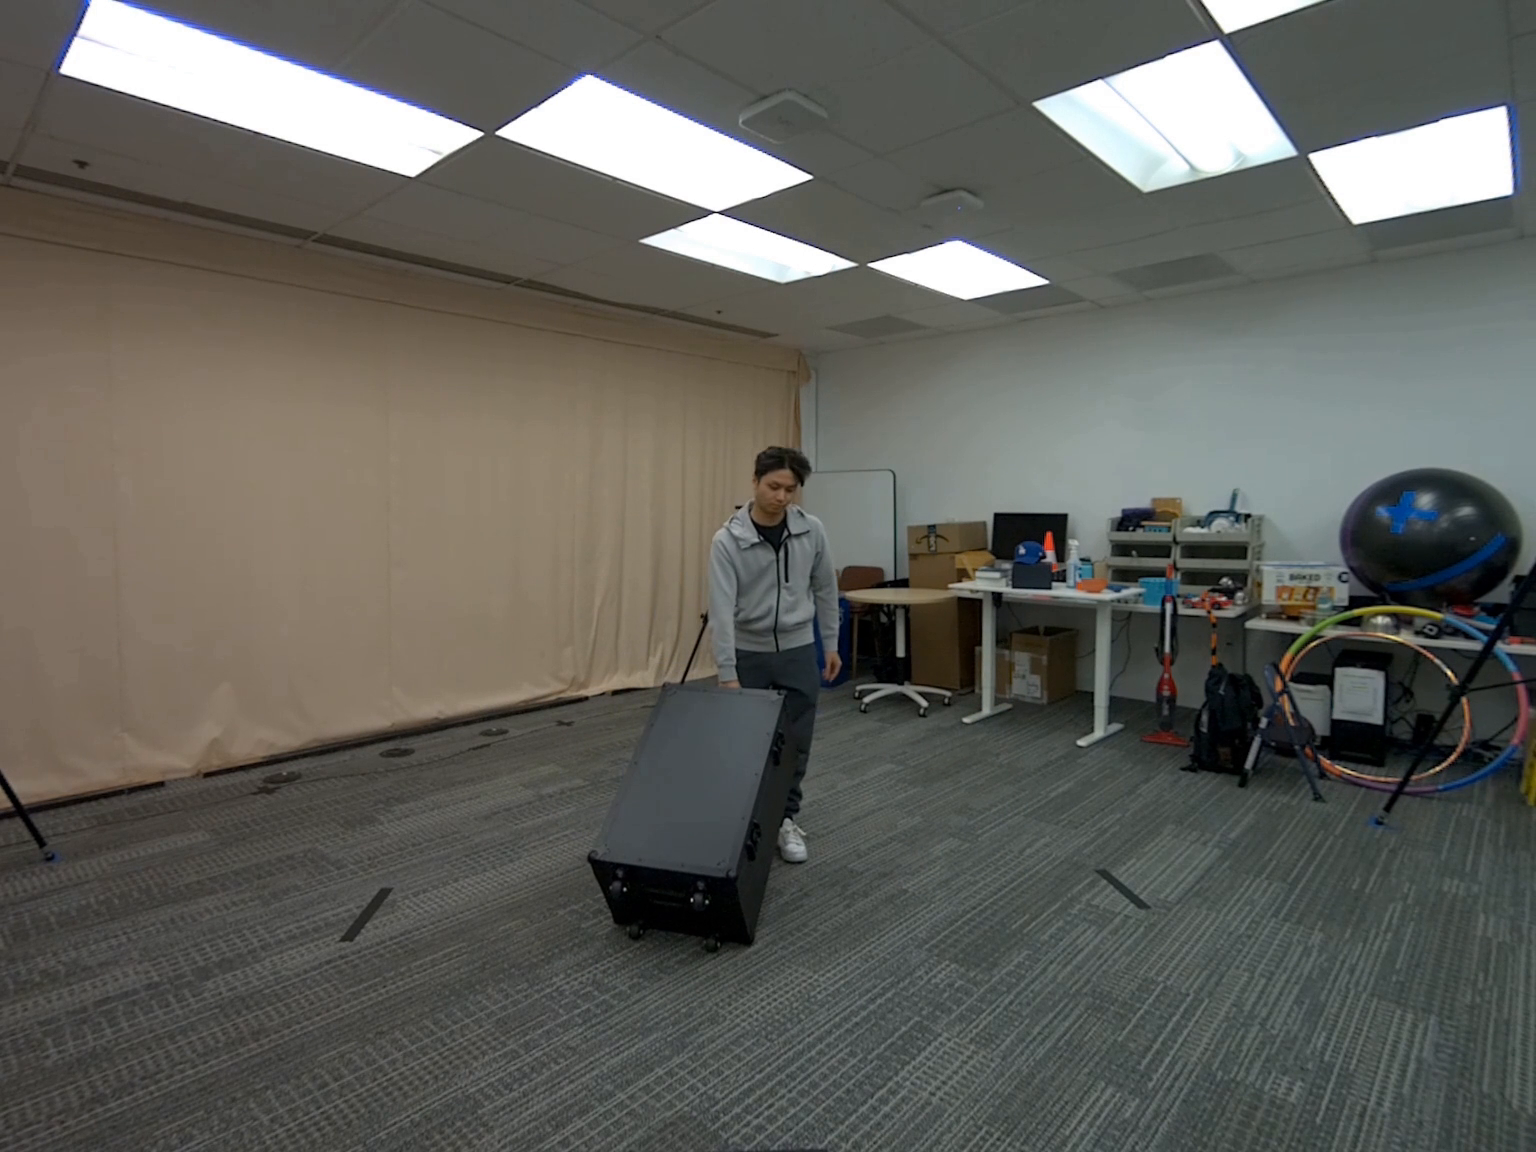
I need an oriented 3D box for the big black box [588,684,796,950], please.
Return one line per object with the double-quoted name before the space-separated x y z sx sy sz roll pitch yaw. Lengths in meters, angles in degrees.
"big black box" -0.236 0.818 2.927 0.531 0.387 0.865 1 37 17
